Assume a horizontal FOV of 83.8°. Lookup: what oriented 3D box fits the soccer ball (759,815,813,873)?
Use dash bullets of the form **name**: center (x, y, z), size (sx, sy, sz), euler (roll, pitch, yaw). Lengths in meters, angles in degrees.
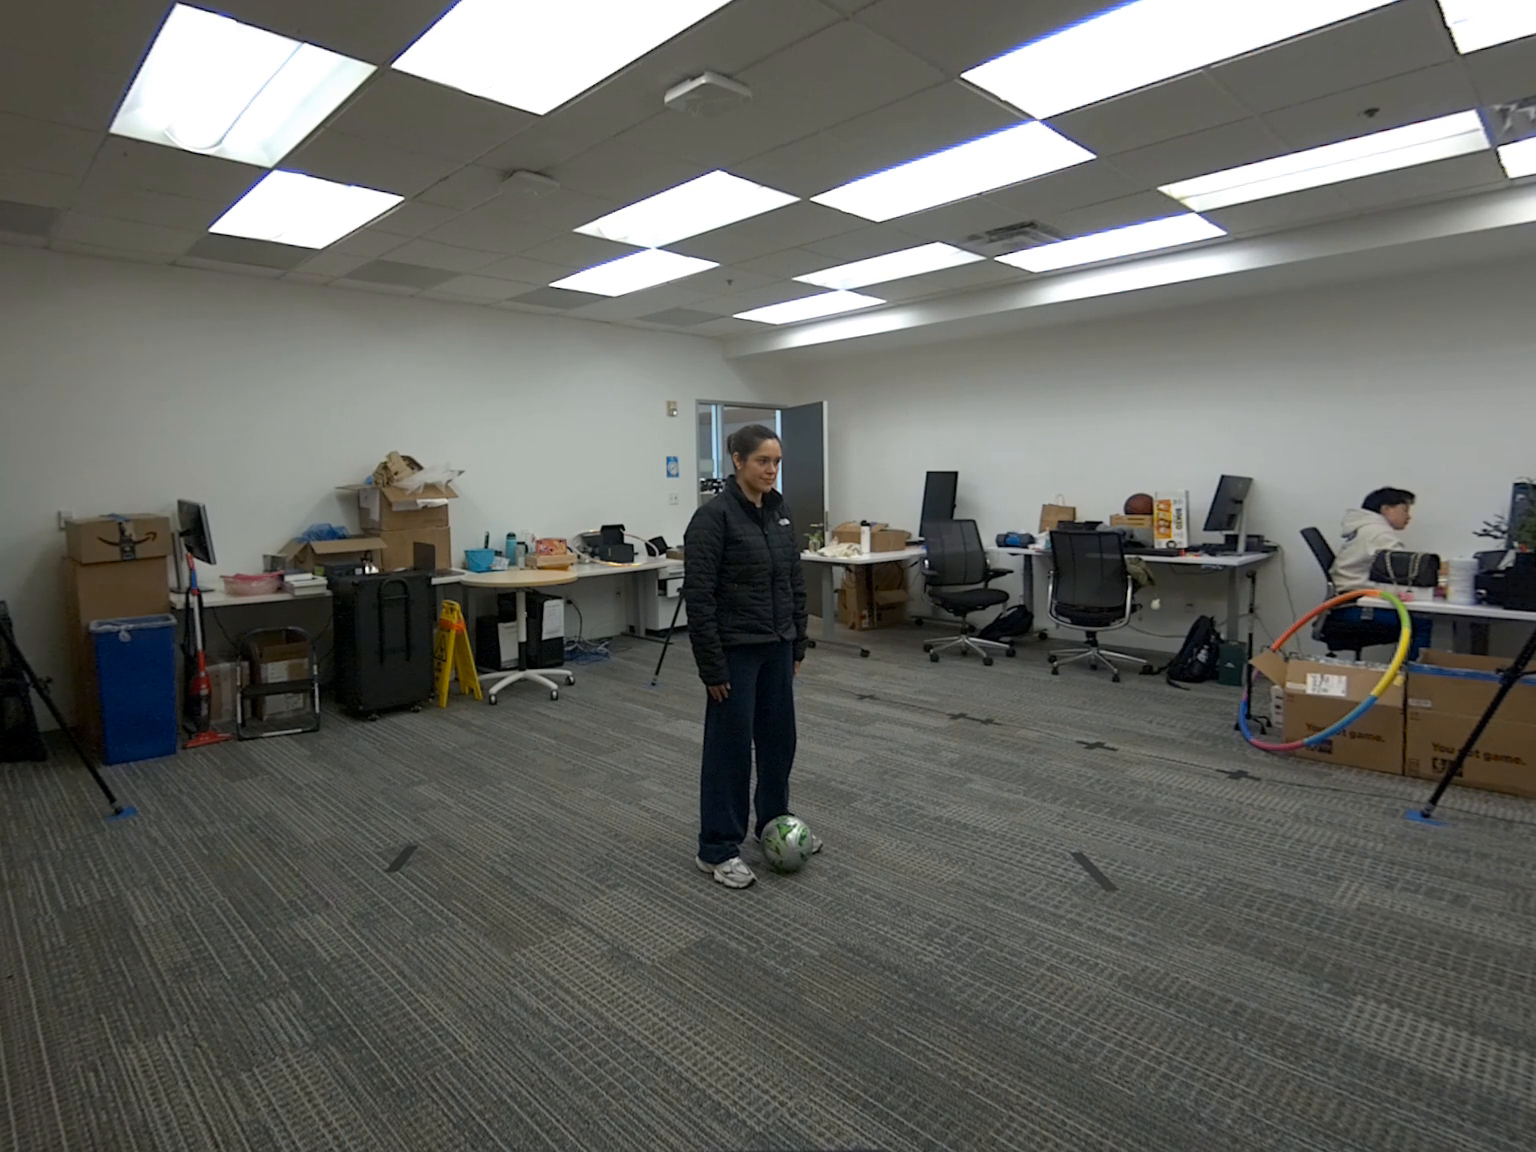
- **soccer ball**: center (0.062, 0.950, 3.056), size (0.187, 0.187, 0.188), euler (-1, 5, -2)
